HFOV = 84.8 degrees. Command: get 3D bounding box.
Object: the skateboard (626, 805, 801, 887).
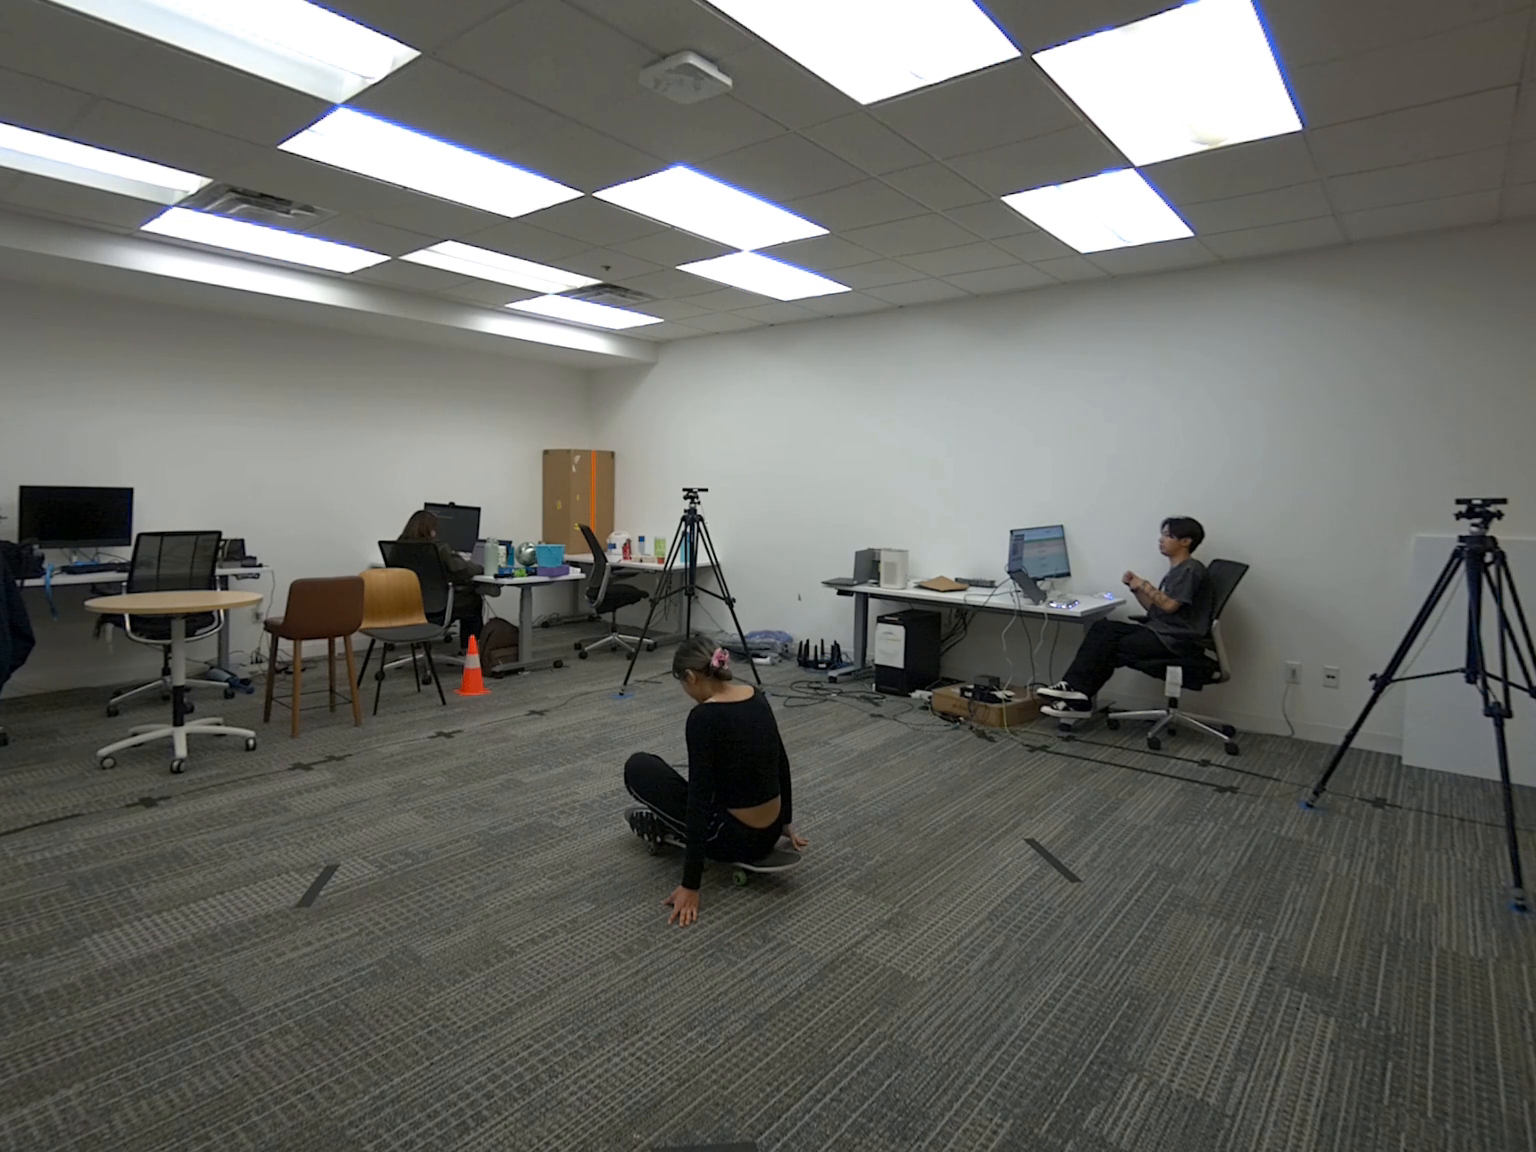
[{"bbox_3d":[-0.244,1.004,3.165,0.811,0.110,0.188,6,6,35],"label":"skateboard"}]
